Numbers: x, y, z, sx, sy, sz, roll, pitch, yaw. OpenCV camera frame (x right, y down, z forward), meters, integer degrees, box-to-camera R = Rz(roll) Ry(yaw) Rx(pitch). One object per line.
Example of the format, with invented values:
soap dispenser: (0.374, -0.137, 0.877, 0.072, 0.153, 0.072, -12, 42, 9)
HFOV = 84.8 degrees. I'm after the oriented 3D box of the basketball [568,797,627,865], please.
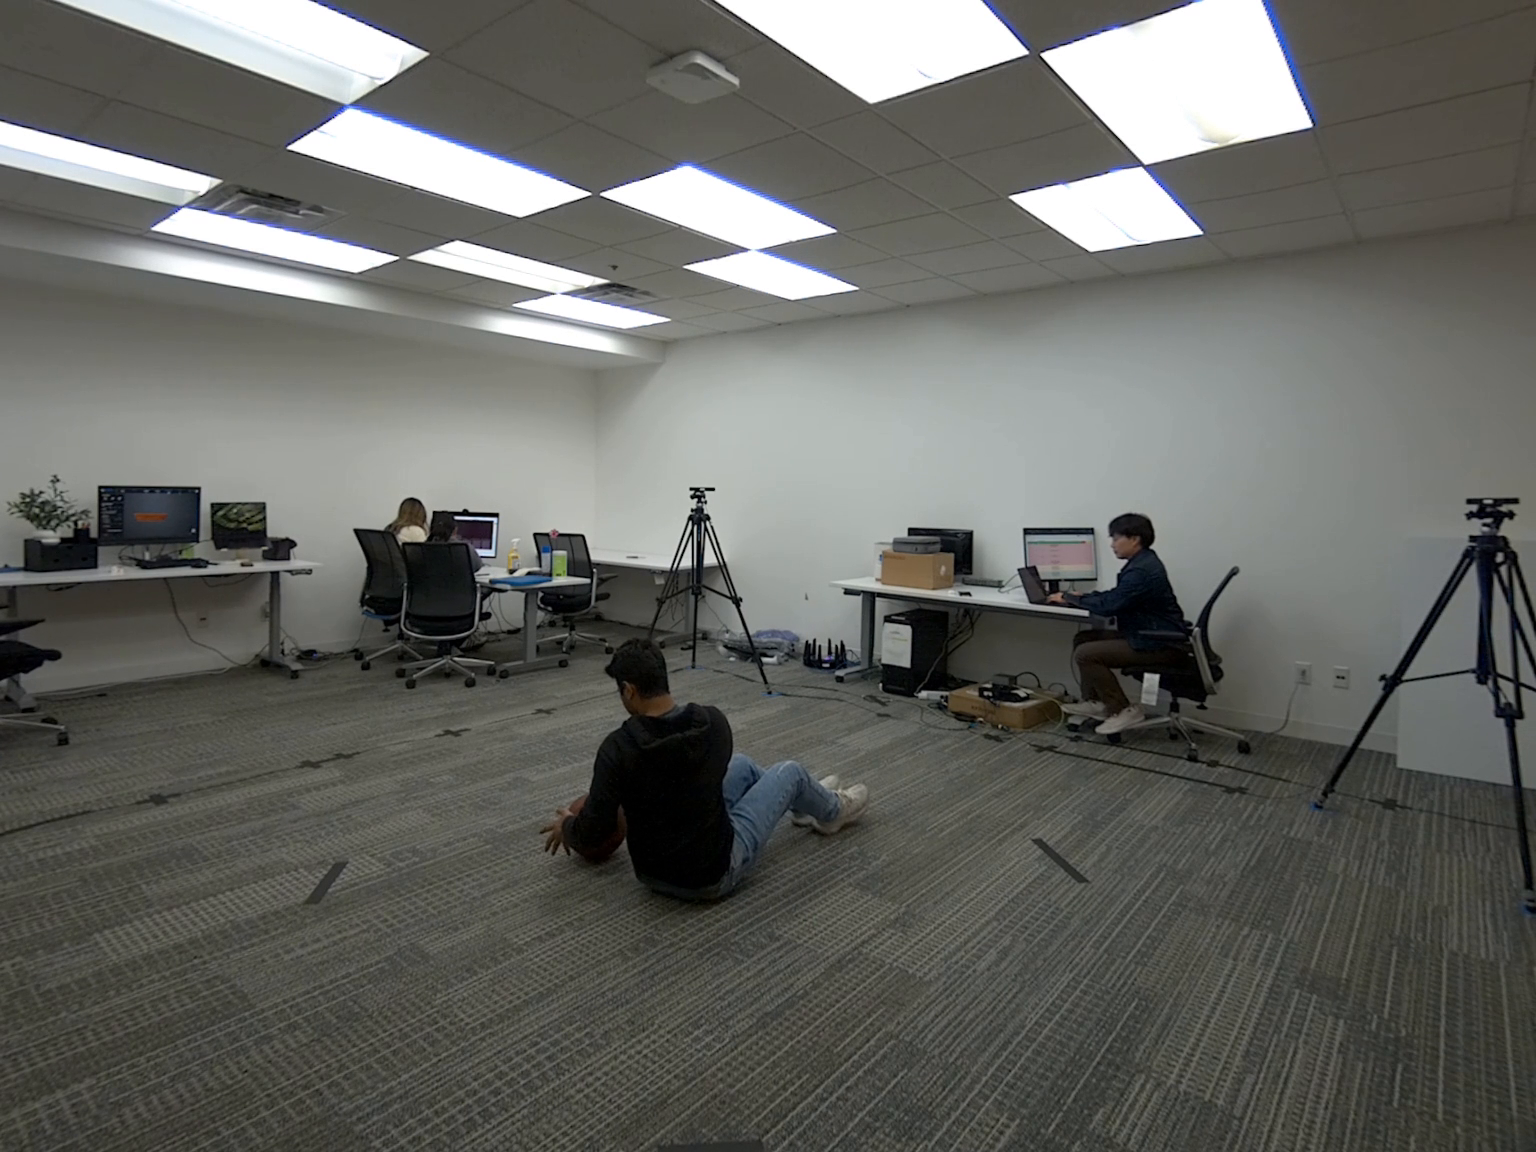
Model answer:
basketball: (-0.655, 0.928, 3.189, 0.235, 0.235, 0.237, 1, 4, -2)
